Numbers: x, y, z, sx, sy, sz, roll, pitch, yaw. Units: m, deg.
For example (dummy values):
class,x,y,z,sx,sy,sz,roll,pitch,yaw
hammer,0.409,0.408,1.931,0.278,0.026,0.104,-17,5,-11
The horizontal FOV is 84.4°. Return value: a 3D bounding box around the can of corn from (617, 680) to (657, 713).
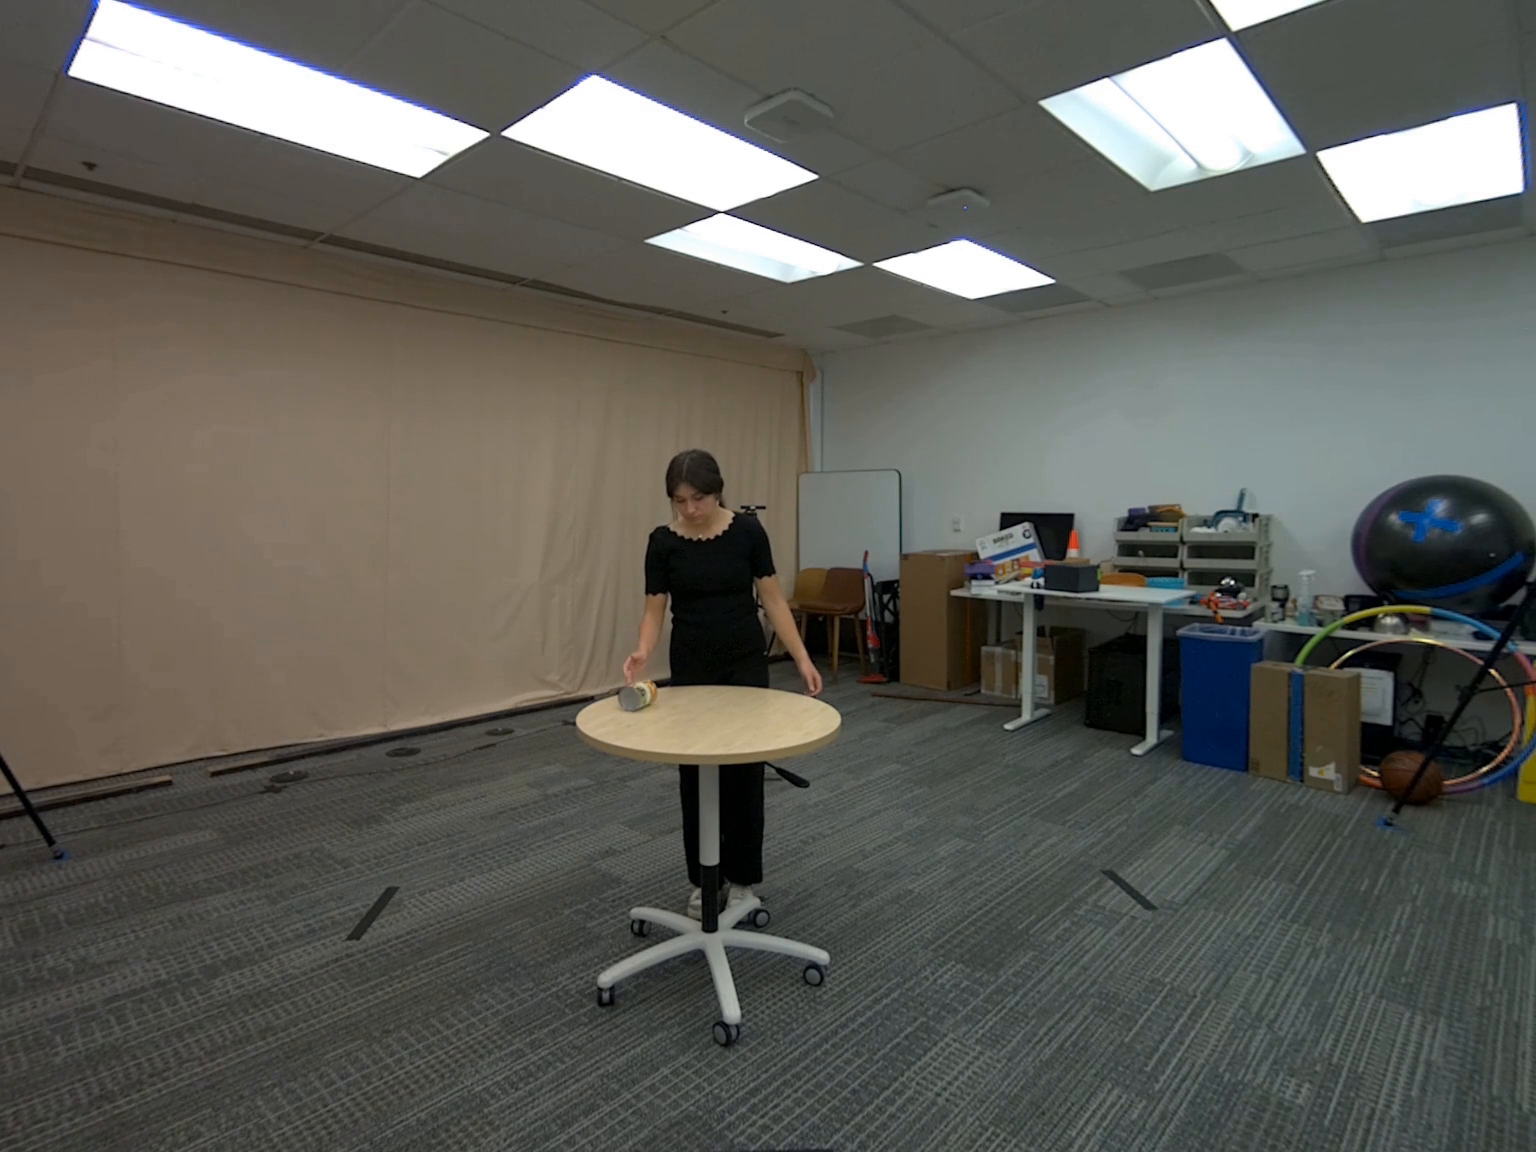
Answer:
class,x,y,z,sx,sy,sz,roll,pitch,yaw
can of corn,-0.400,0.359,2.533,0.075,0.074,0.109,1,4,13
